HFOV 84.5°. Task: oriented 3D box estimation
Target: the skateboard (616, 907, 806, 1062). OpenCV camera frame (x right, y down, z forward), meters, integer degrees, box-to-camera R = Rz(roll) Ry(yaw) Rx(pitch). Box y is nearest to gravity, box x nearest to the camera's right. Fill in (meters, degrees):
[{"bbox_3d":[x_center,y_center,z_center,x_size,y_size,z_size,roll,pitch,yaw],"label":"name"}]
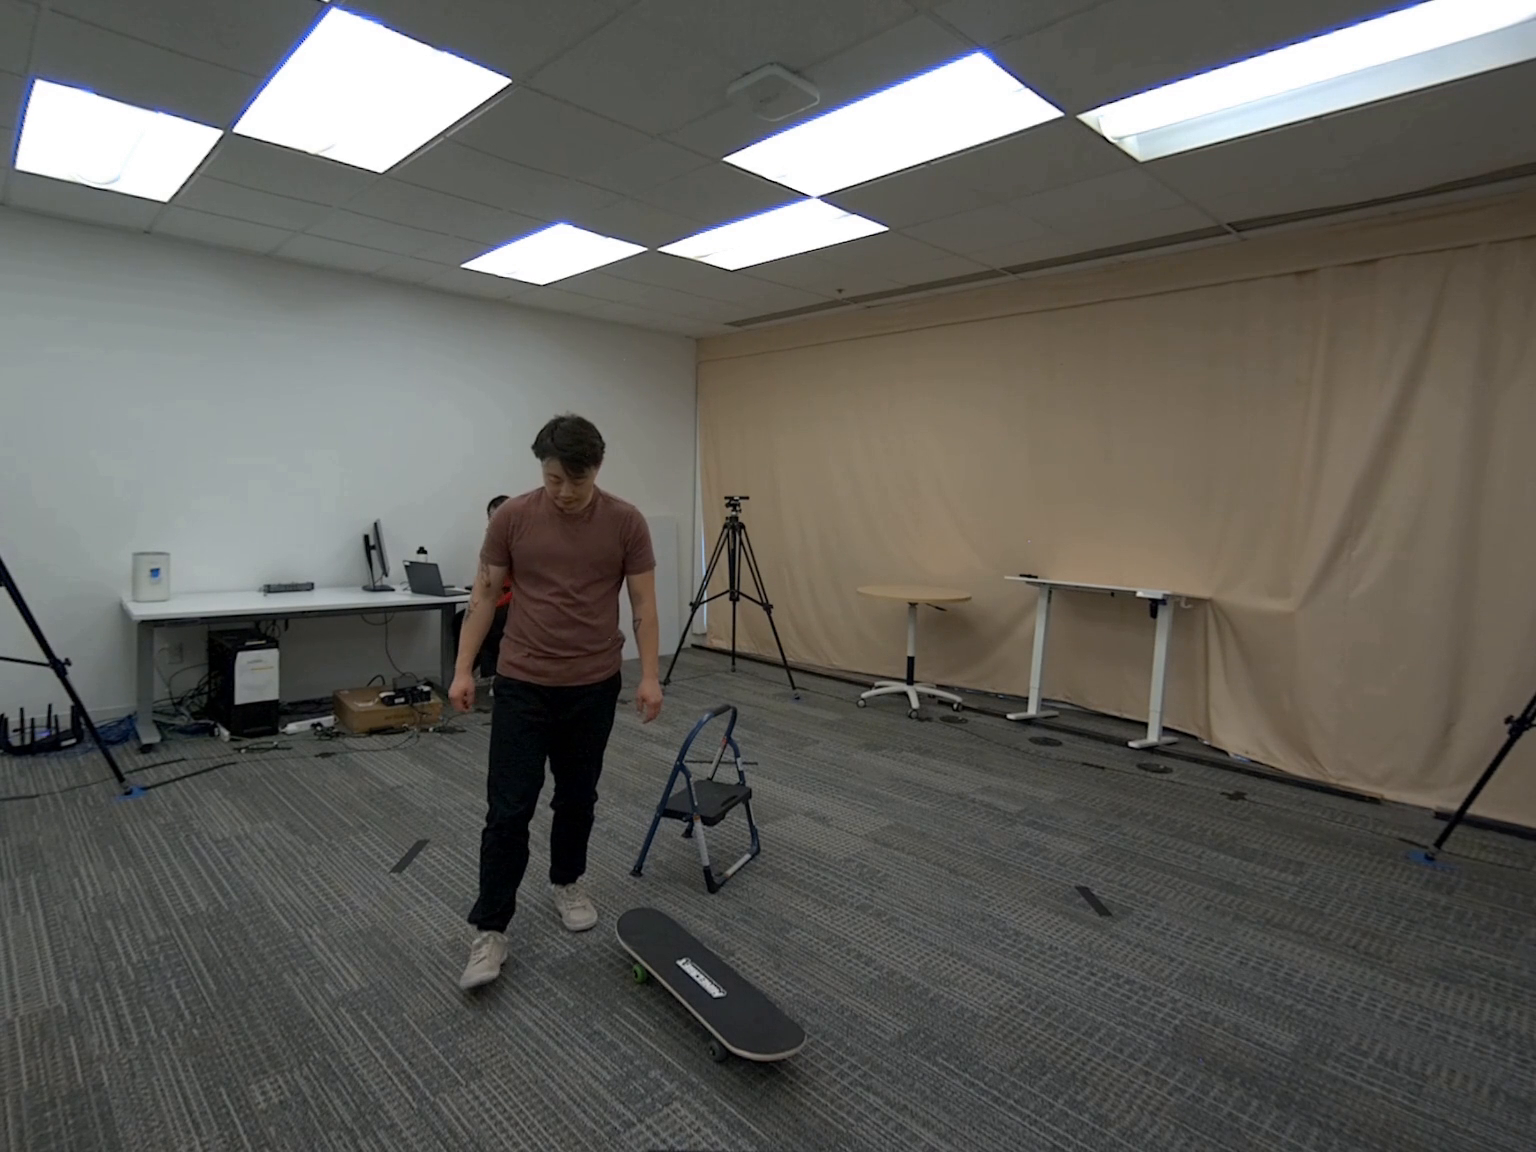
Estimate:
[{"bbox_3d":[-0.201,1.128,2.287,0.189,0.110,0.805,-3,7,-36],"label":"skateboard"}]
